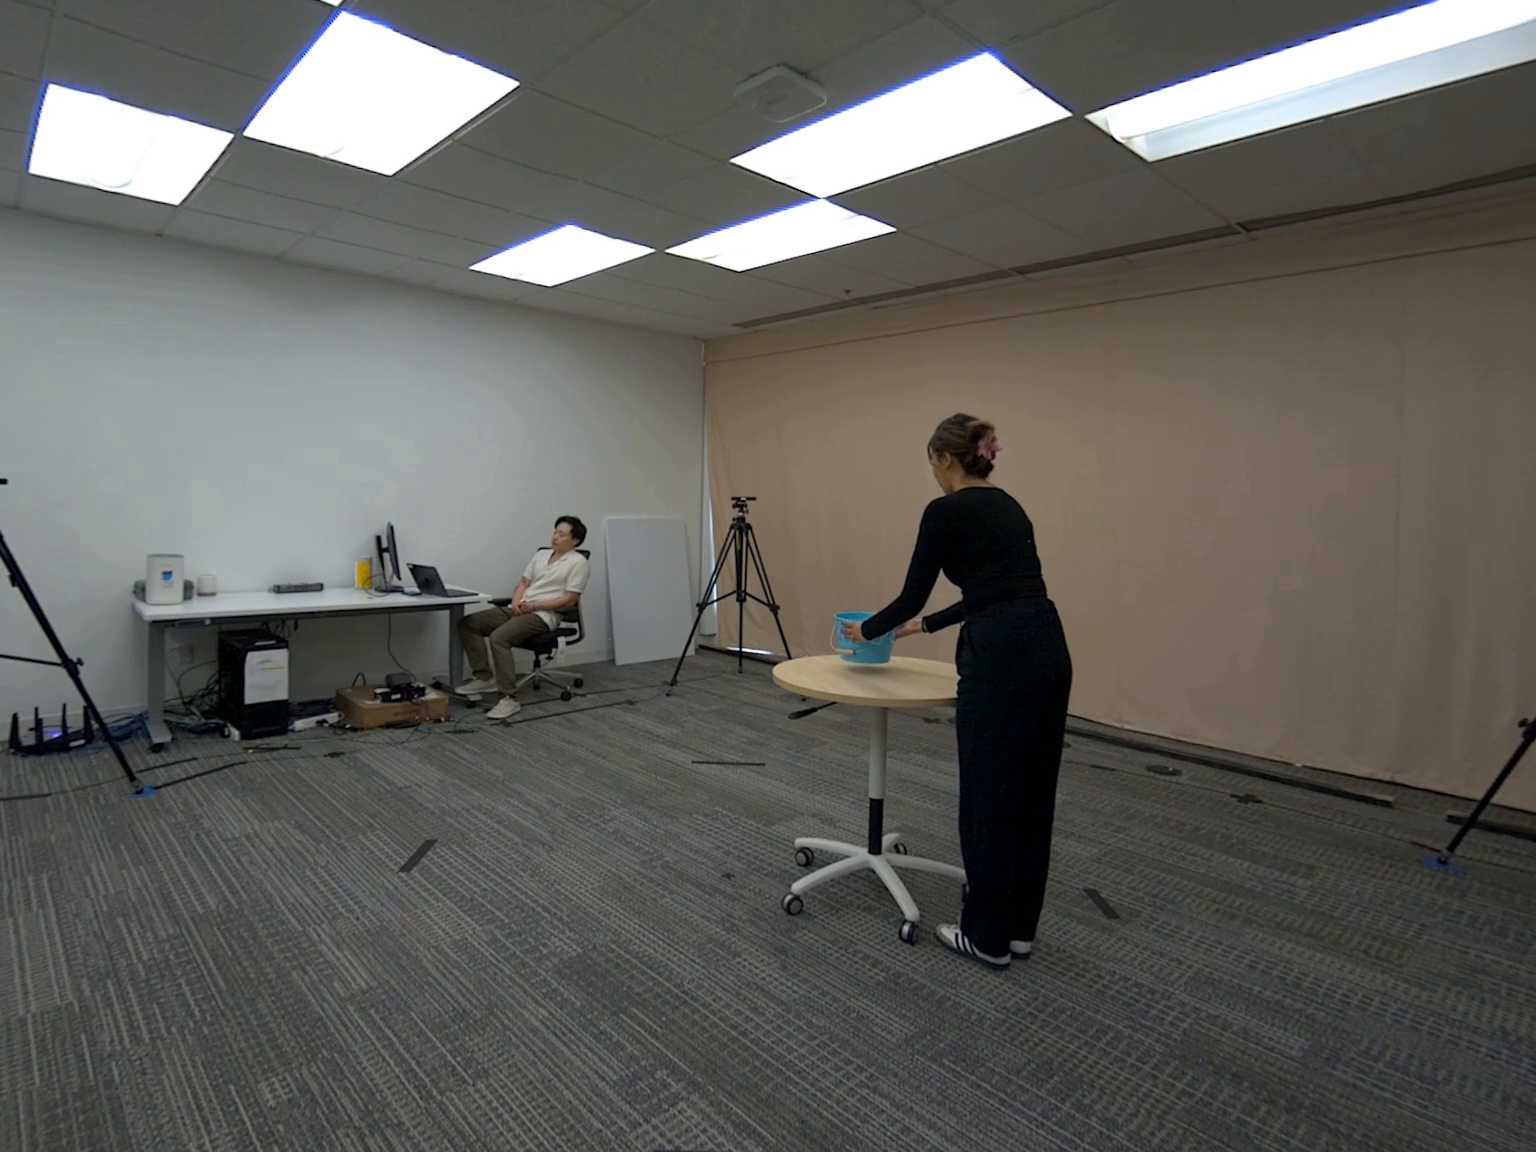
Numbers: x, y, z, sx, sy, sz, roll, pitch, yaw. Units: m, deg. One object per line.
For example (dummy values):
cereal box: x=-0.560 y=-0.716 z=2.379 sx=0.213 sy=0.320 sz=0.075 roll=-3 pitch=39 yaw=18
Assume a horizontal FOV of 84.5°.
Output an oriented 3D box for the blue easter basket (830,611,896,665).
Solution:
blue easter basket: x=0.348 y=0.226 z=3.026 sx=0.243 sy=0.155 sz=0.245 roll=2 pitch=6 yaw=-2
